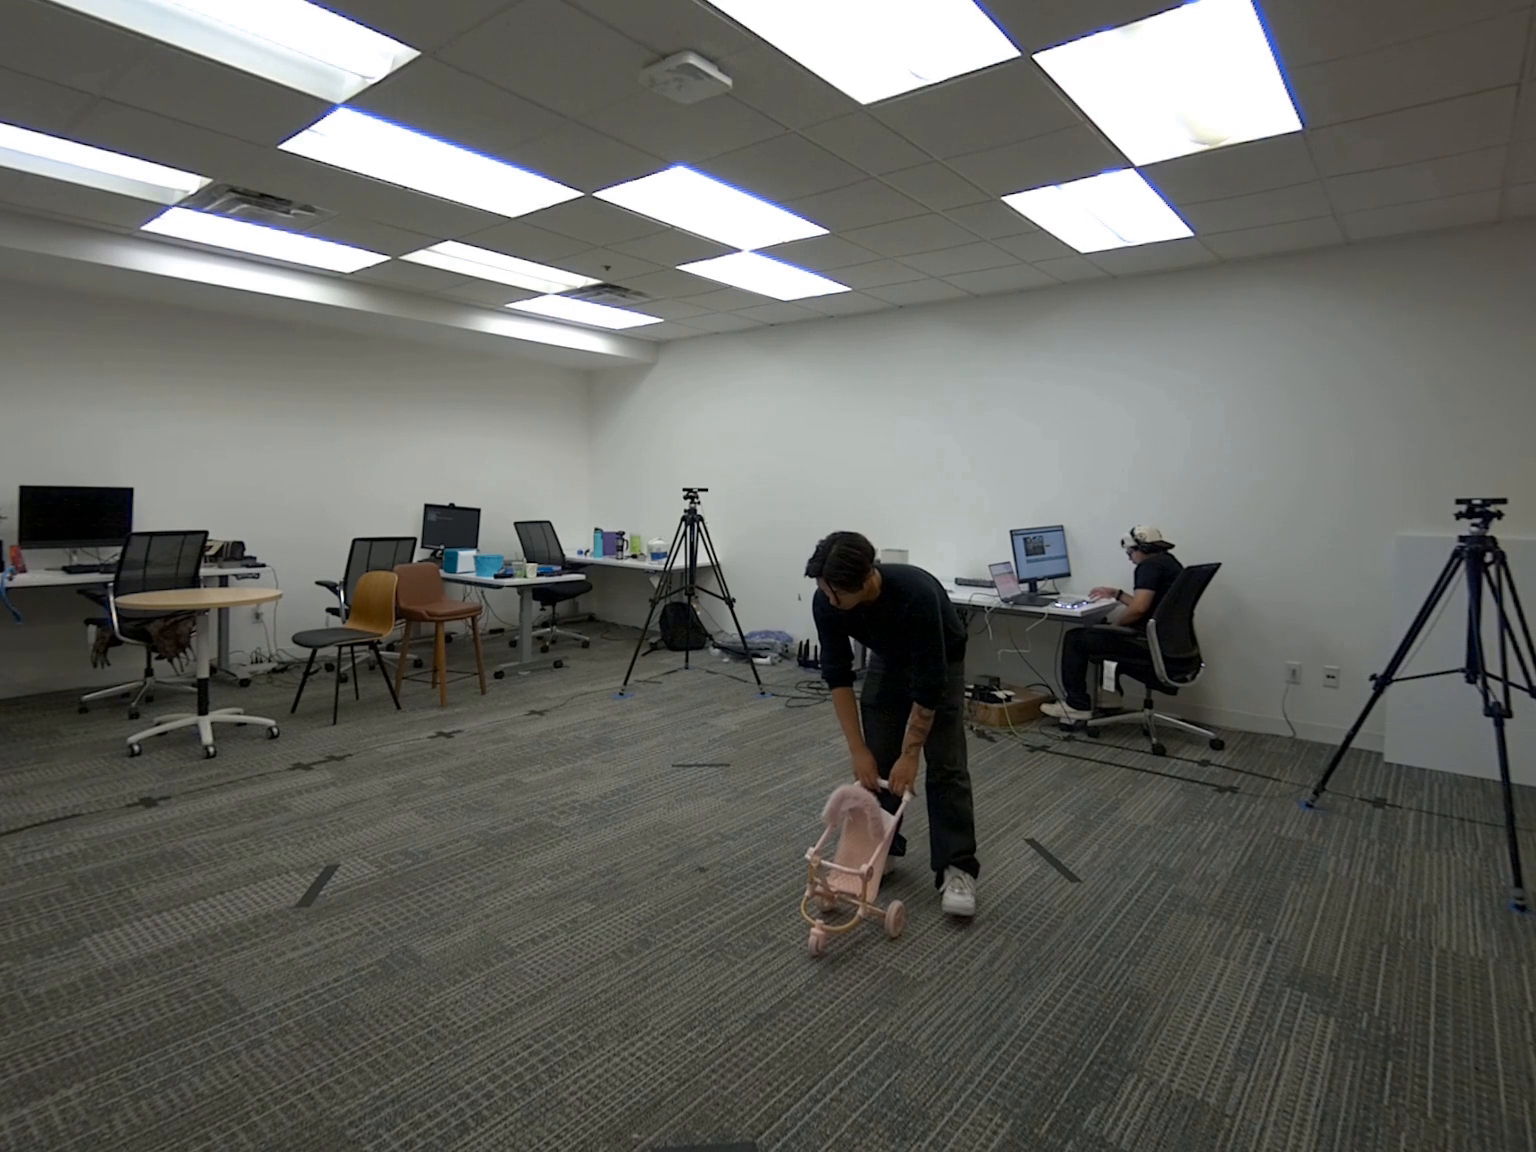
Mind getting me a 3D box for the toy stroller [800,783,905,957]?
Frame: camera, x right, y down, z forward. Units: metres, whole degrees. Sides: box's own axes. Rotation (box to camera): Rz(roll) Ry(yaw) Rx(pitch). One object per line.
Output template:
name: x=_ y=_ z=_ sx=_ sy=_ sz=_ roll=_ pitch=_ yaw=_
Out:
toy stroller: x=0.254 y=0.898 z=2.687 sx=0.291 sy=0.539 sz=0.328 roll=3 pitch=-13 yaw=41
